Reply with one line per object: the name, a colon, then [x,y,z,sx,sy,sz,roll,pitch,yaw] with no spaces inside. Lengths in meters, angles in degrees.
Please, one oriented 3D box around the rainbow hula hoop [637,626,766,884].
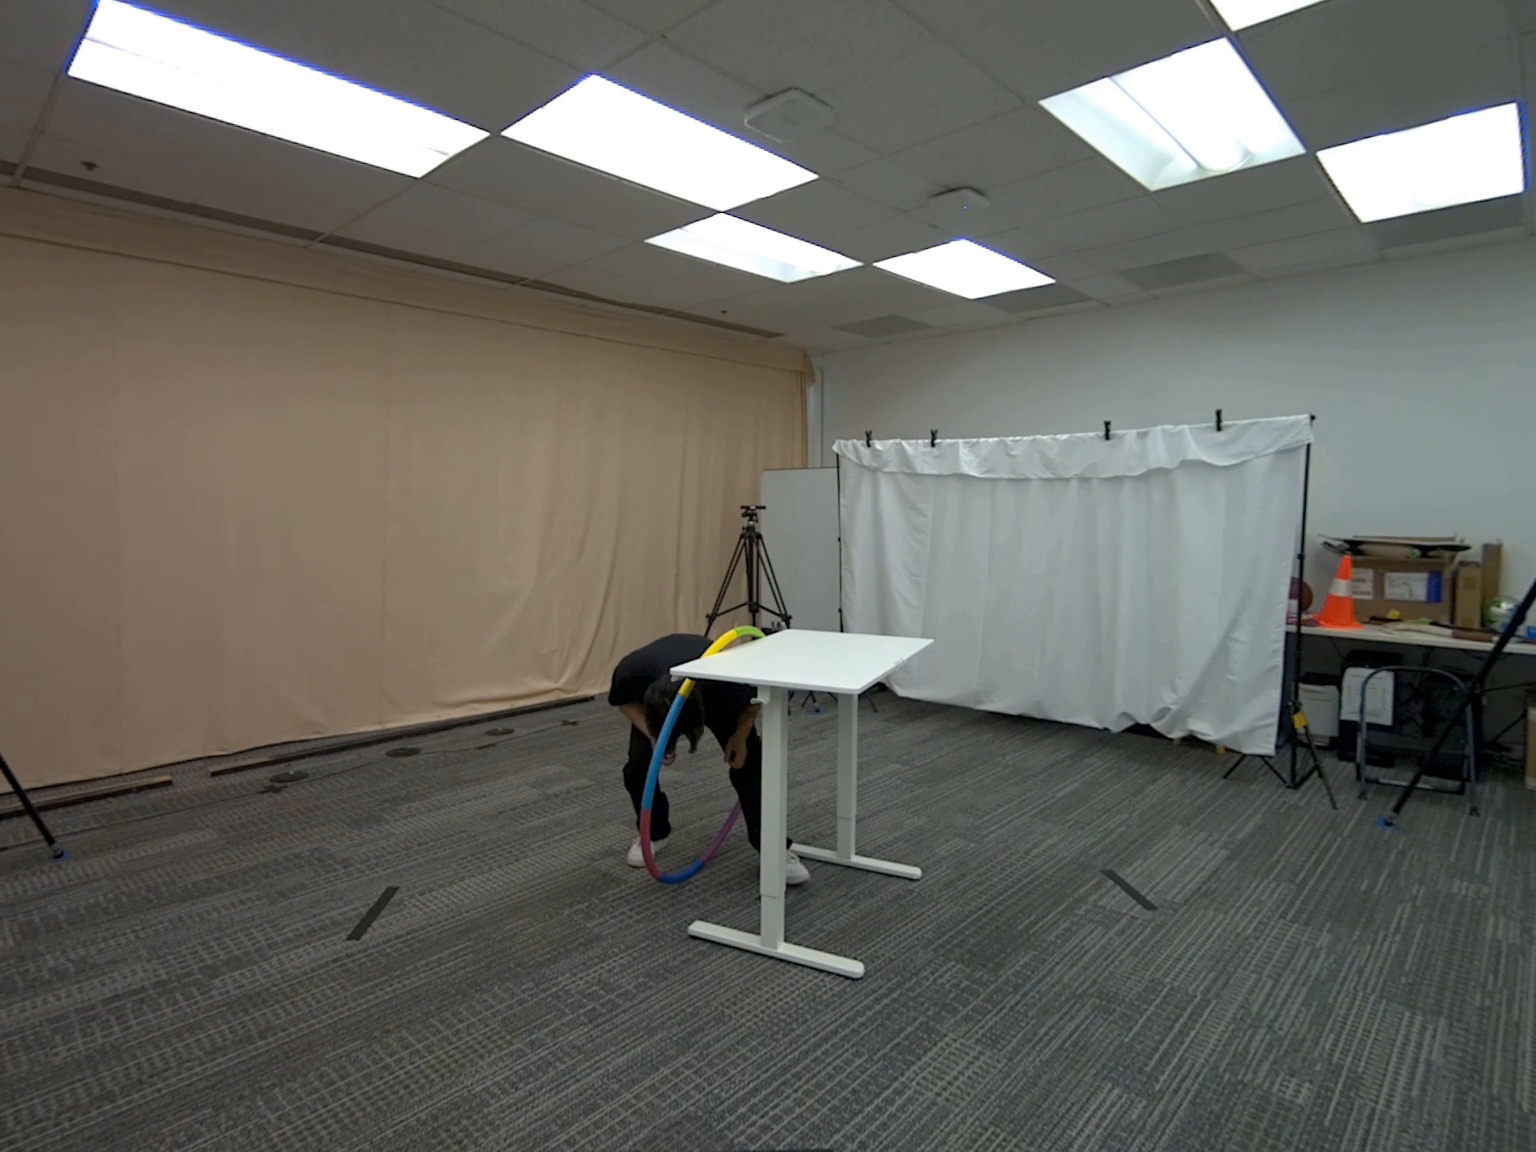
rainbow hula hoop: [-0.194,0.656,3.138,0.036,0.975,0.956,15,10,22]
